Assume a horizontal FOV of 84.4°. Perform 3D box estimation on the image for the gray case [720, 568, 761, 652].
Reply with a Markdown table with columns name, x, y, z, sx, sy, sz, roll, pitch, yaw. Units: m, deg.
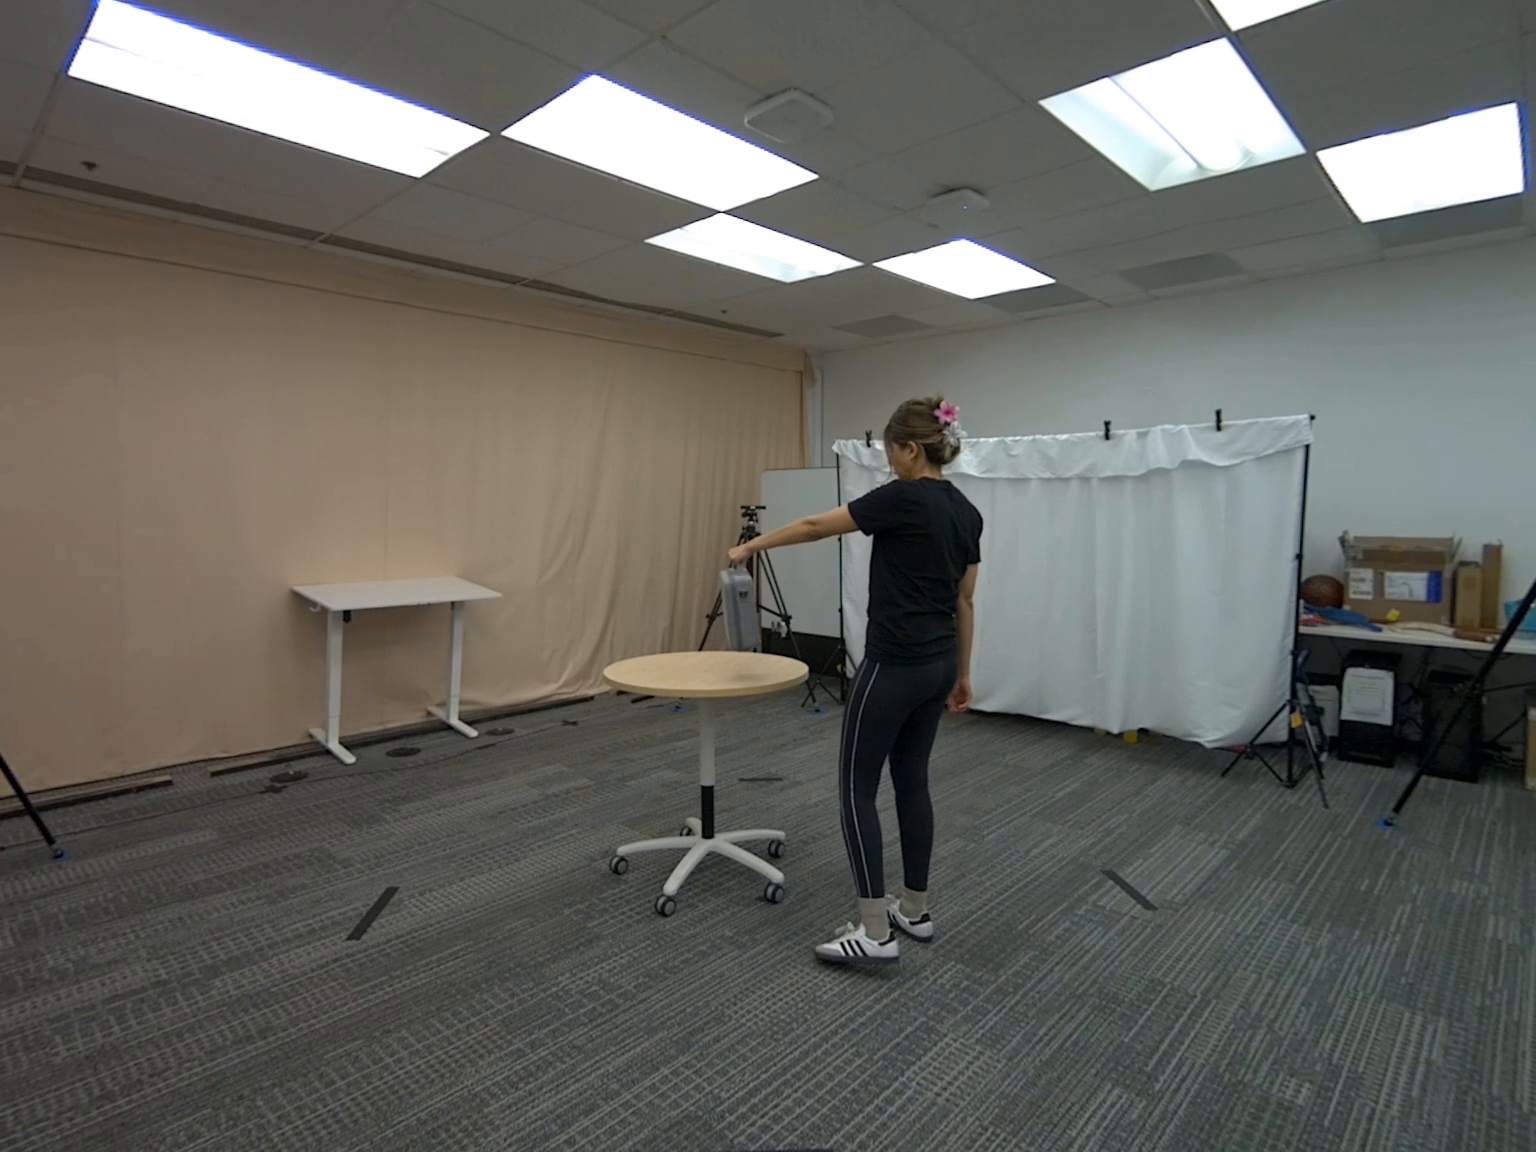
| name | x | y | z | sx | sy | sz | roll | pitch | yaw |
| --- | --- | --- | --- | --- | --- | --- | --- | --- | --- |
| gray case | -0.103 | 0.105 | 2.919 | 0.104 | 0.259 | 0.259 | -6 | 9 | -4 |
